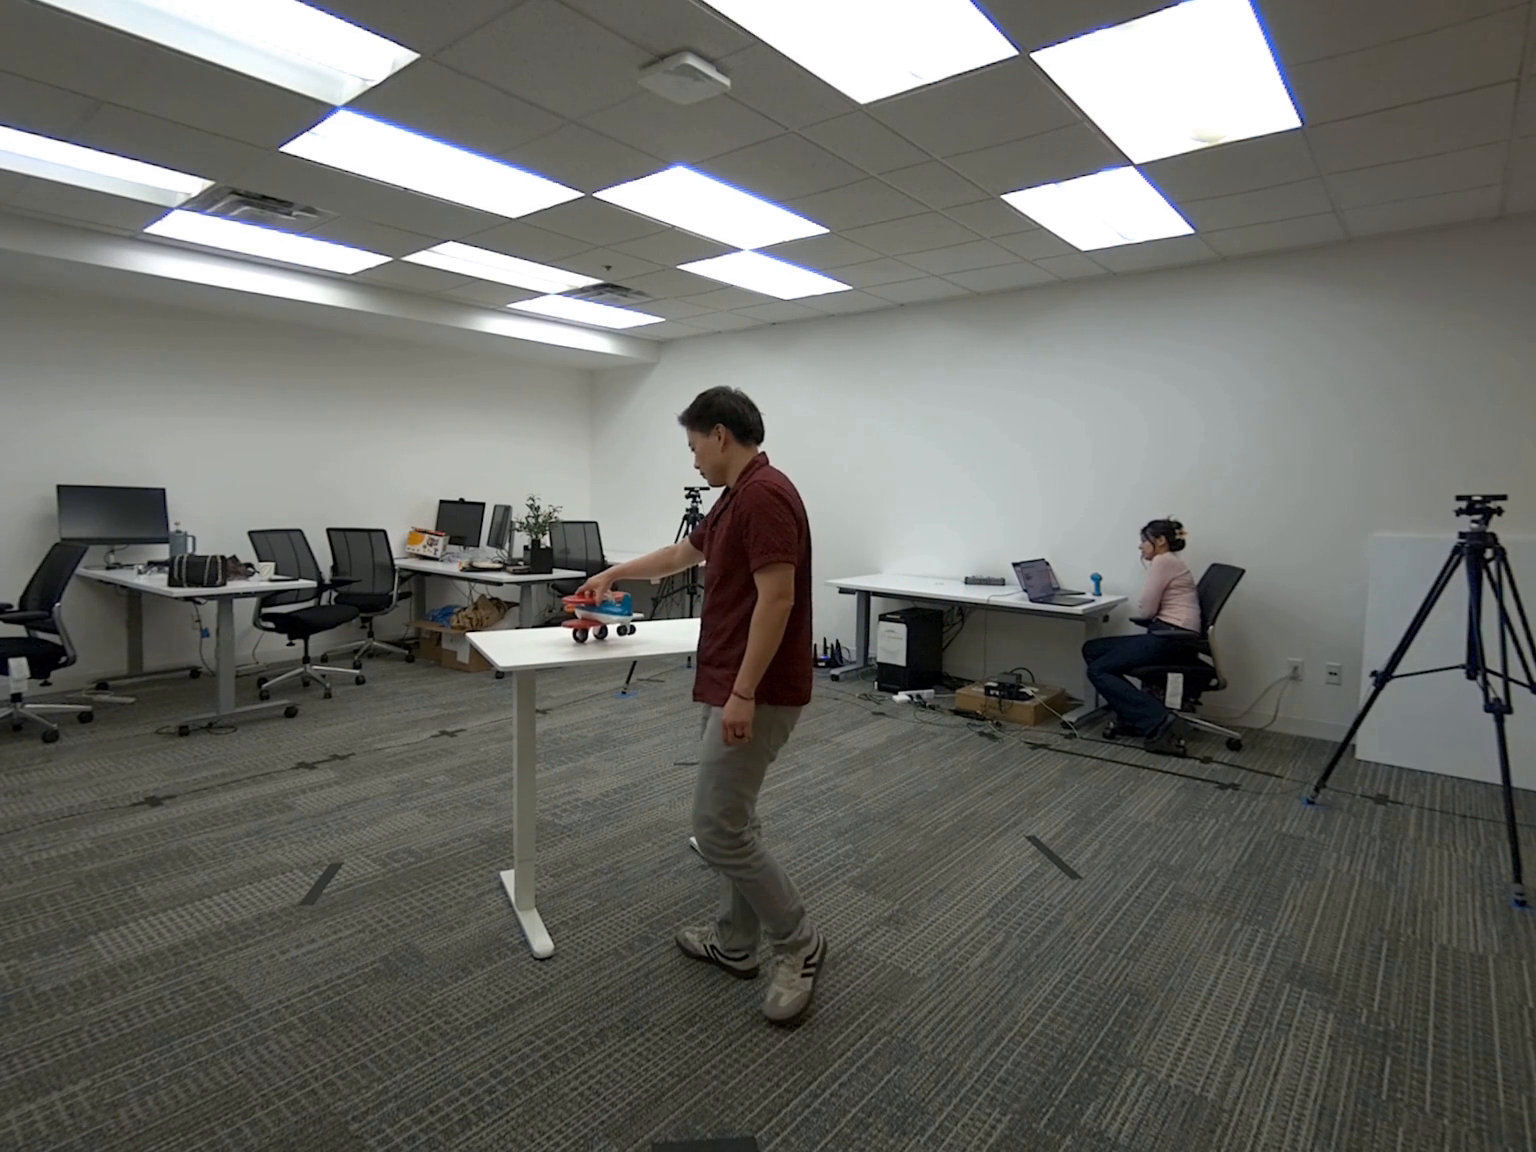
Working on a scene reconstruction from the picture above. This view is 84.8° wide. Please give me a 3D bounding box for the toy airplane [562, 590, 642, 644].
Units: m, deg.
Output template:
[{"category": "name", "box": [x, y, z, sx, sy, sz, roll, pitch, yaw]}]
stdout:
[{"category": "toy airplane", "box": [-0.528, 0.125, 2.761, 0.262, 0.157, 0.247, -10, -3, 13]}]
